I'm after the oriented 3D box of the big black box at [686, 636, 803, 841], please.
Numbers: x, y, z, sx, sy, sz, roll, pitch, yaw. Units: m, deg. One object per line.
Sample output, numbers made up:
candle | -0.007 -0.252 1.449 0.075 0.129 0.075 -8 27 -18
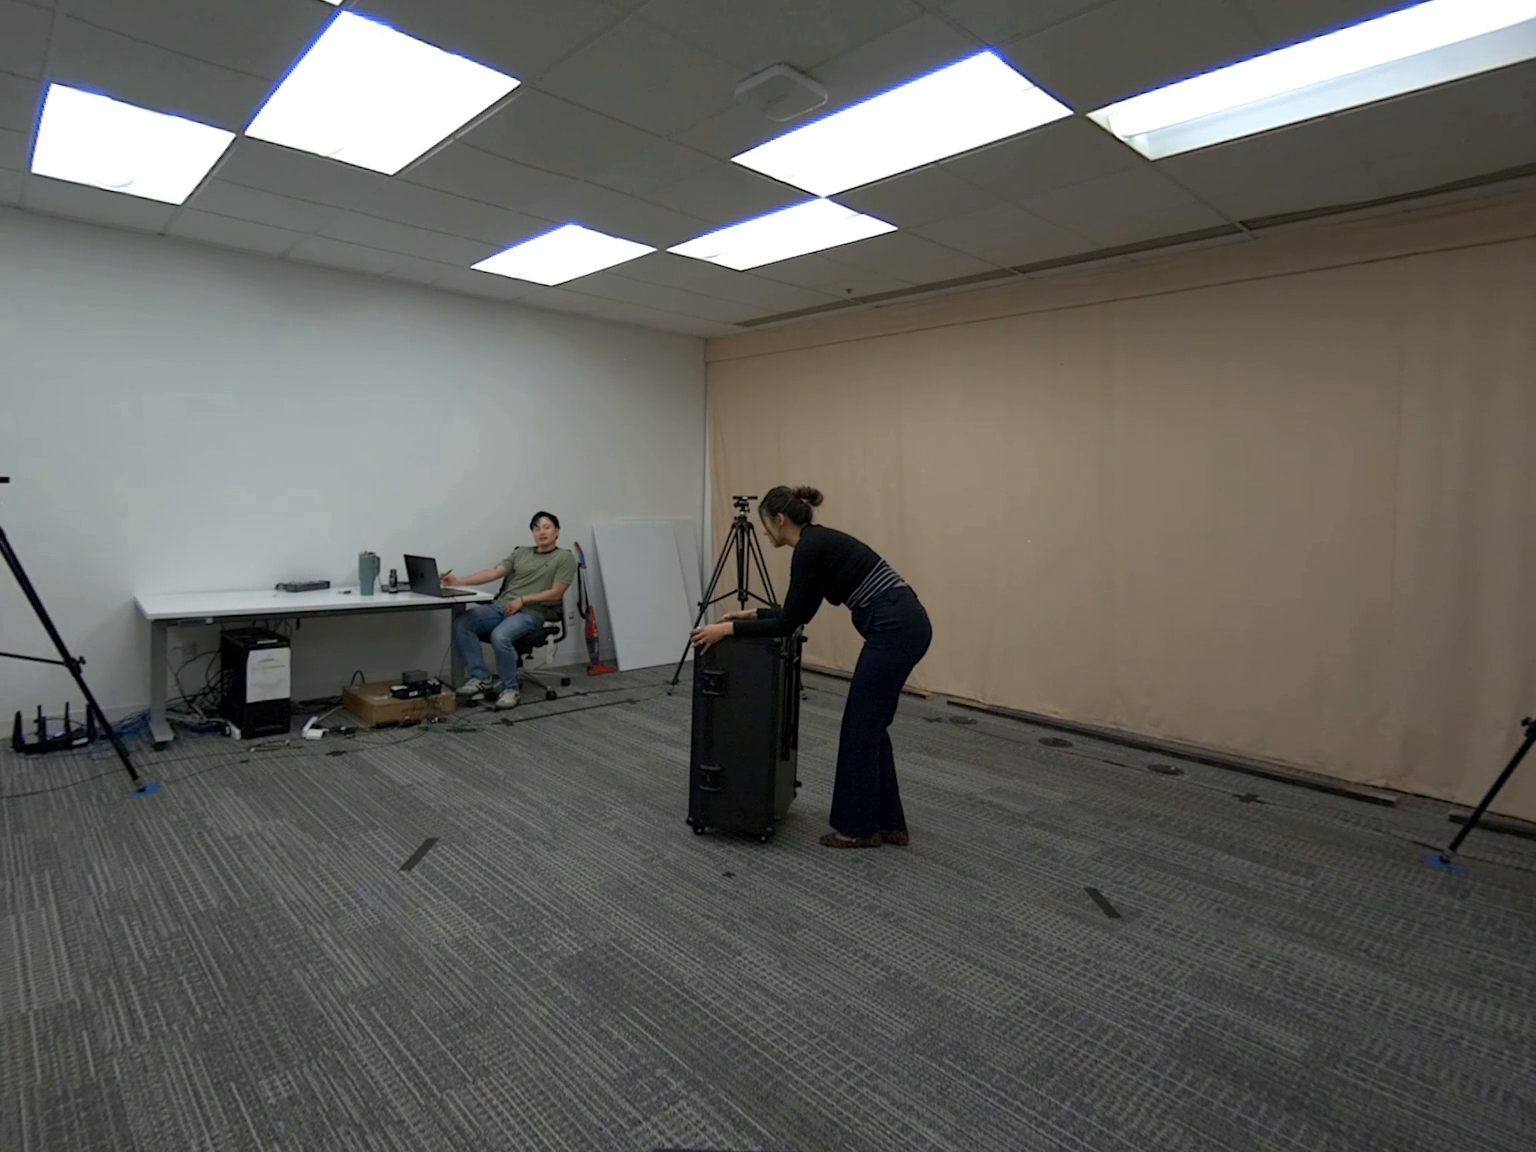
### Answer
big black box | -0.081 0.642 3.554 0.401 0.859 0.516 4 4 15
